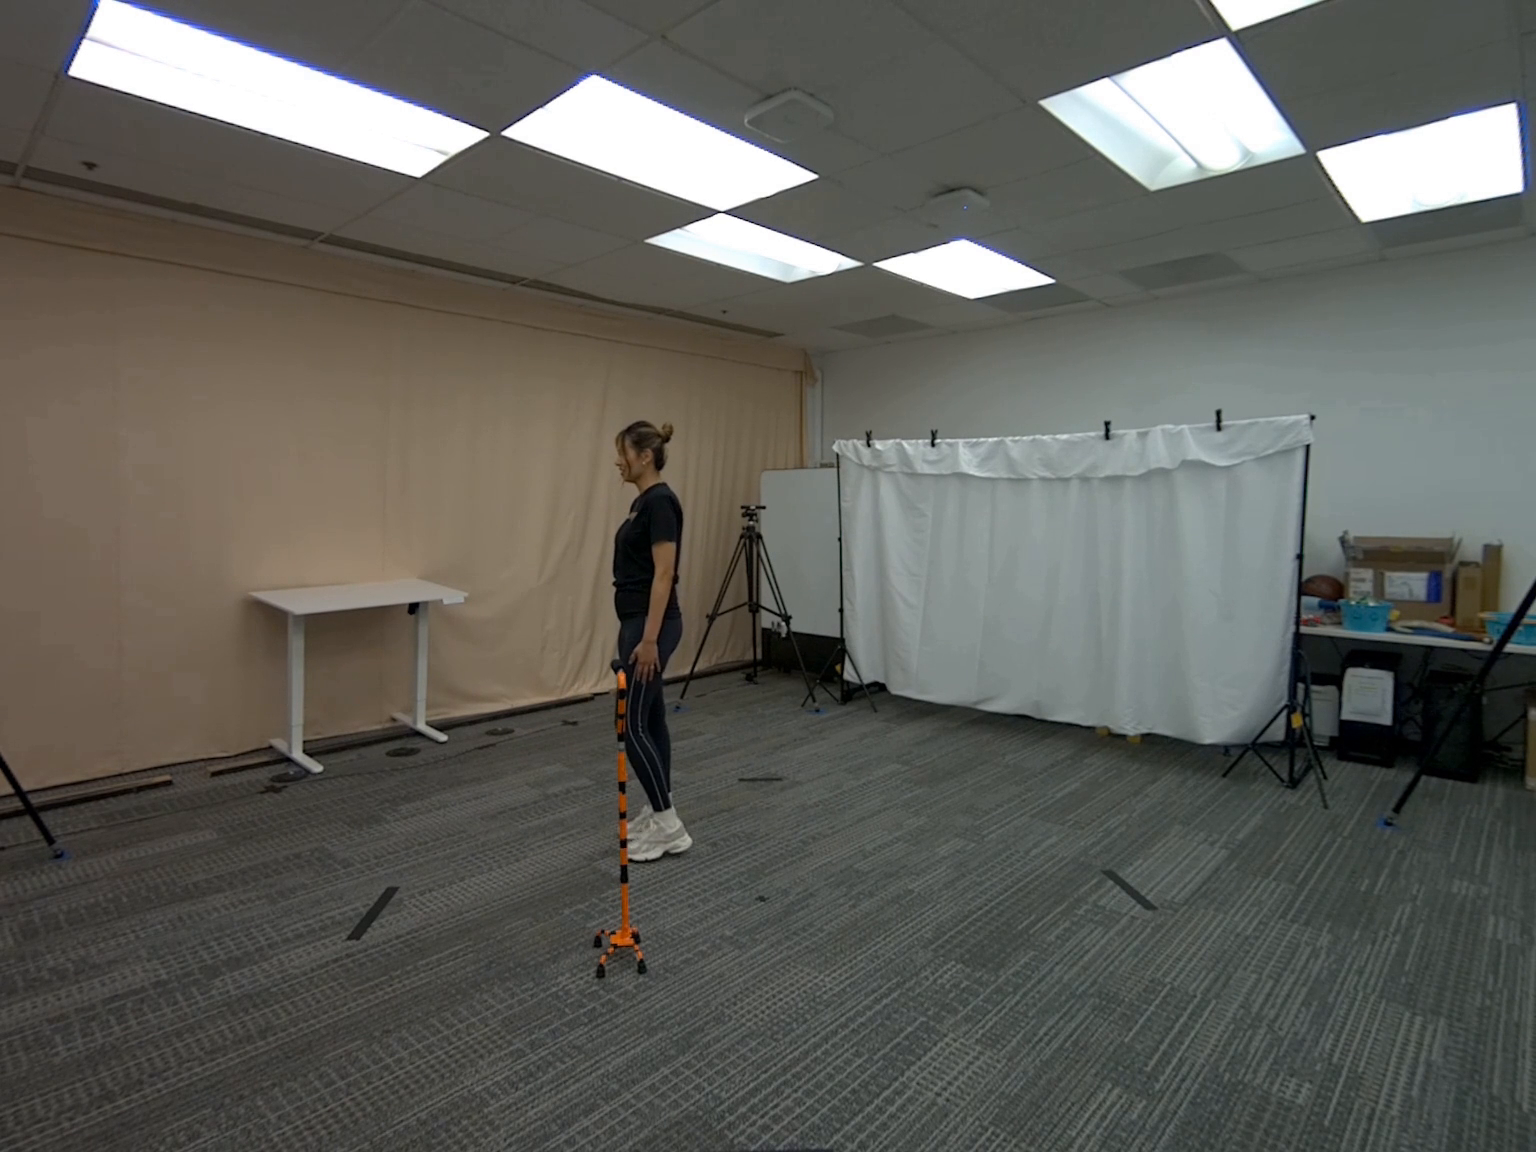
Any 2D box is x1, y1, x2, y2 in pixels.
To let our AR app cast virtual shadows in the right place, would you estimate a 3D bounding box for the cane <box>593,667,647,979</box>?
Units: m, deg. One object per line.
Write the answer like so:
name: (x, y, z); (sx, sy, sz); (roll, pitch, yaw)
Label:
cane: (-0.461, 0.727, 2.564); (0.149, 0.906, 0.210); (-1, 4, -14)
